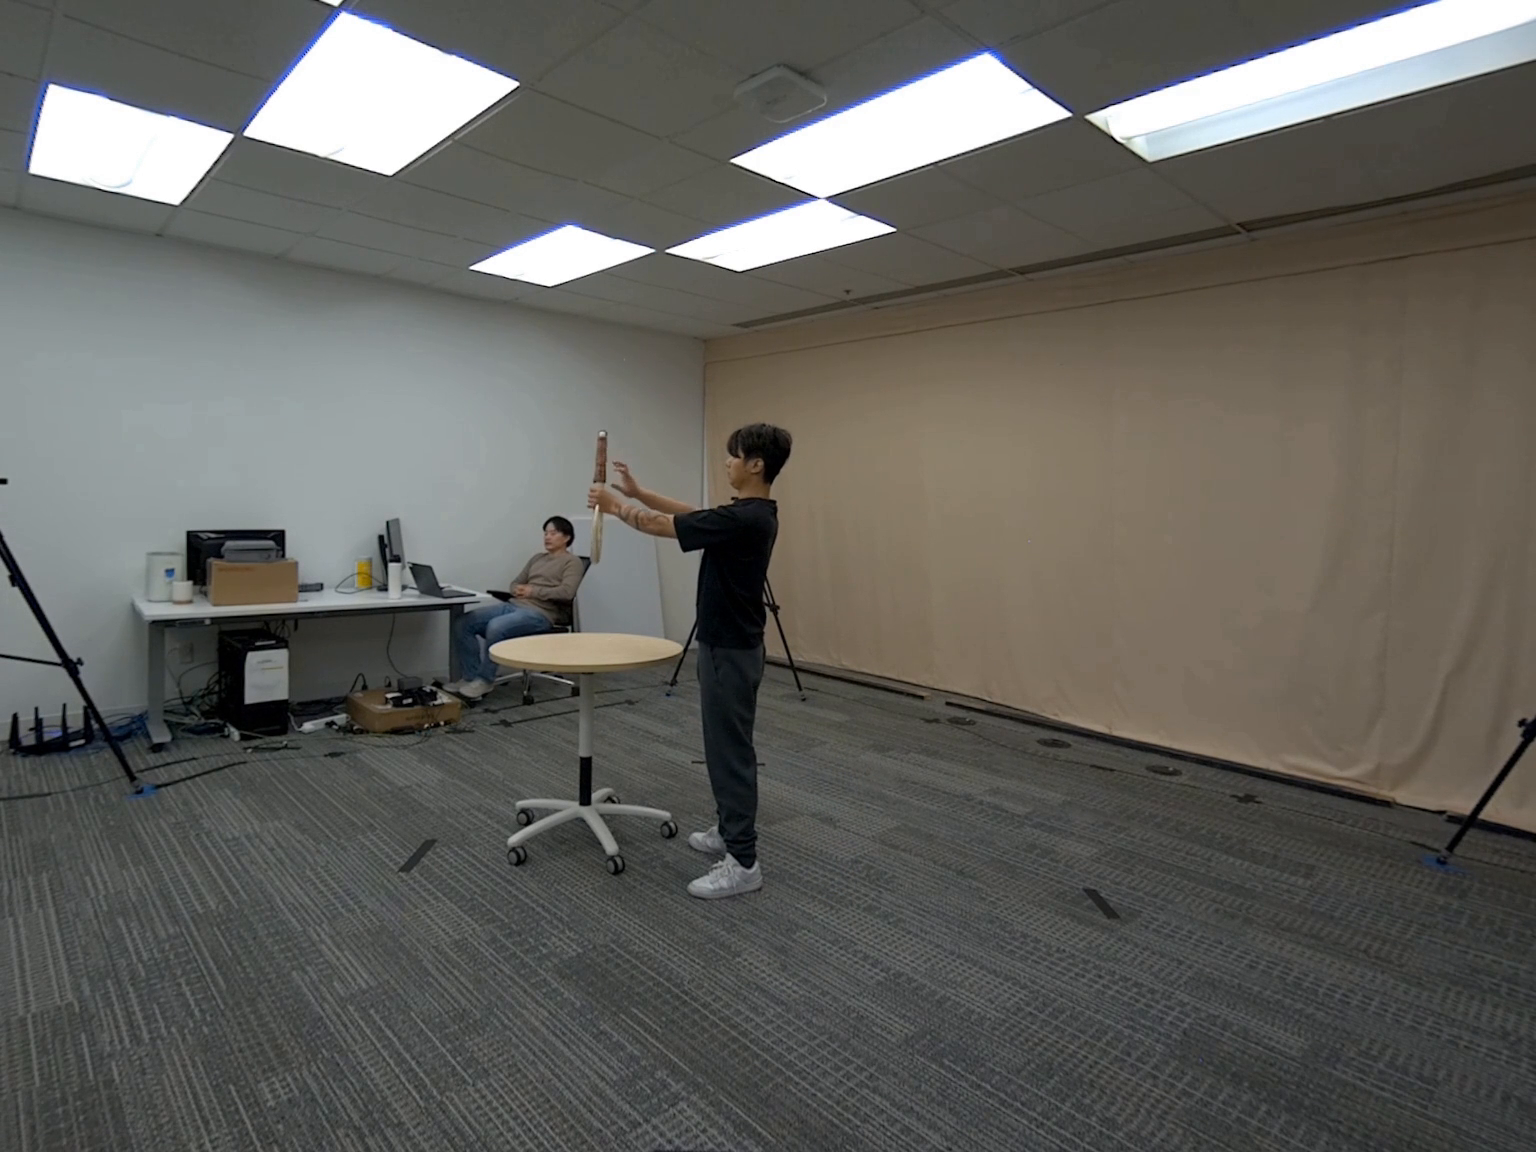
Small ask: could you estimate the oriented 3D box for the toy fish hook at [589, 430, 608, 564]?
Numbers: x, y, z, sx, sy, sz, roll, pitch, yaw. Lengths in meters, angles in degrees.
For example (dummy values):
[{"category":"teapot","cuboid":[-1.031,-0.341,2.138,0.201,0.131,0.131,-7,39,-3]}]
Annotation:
[{"category":"toy fish hook","cuboid":[-0.619,-0.294,3.045,0.048,0.509,0.225,3,-7,-12]}]
